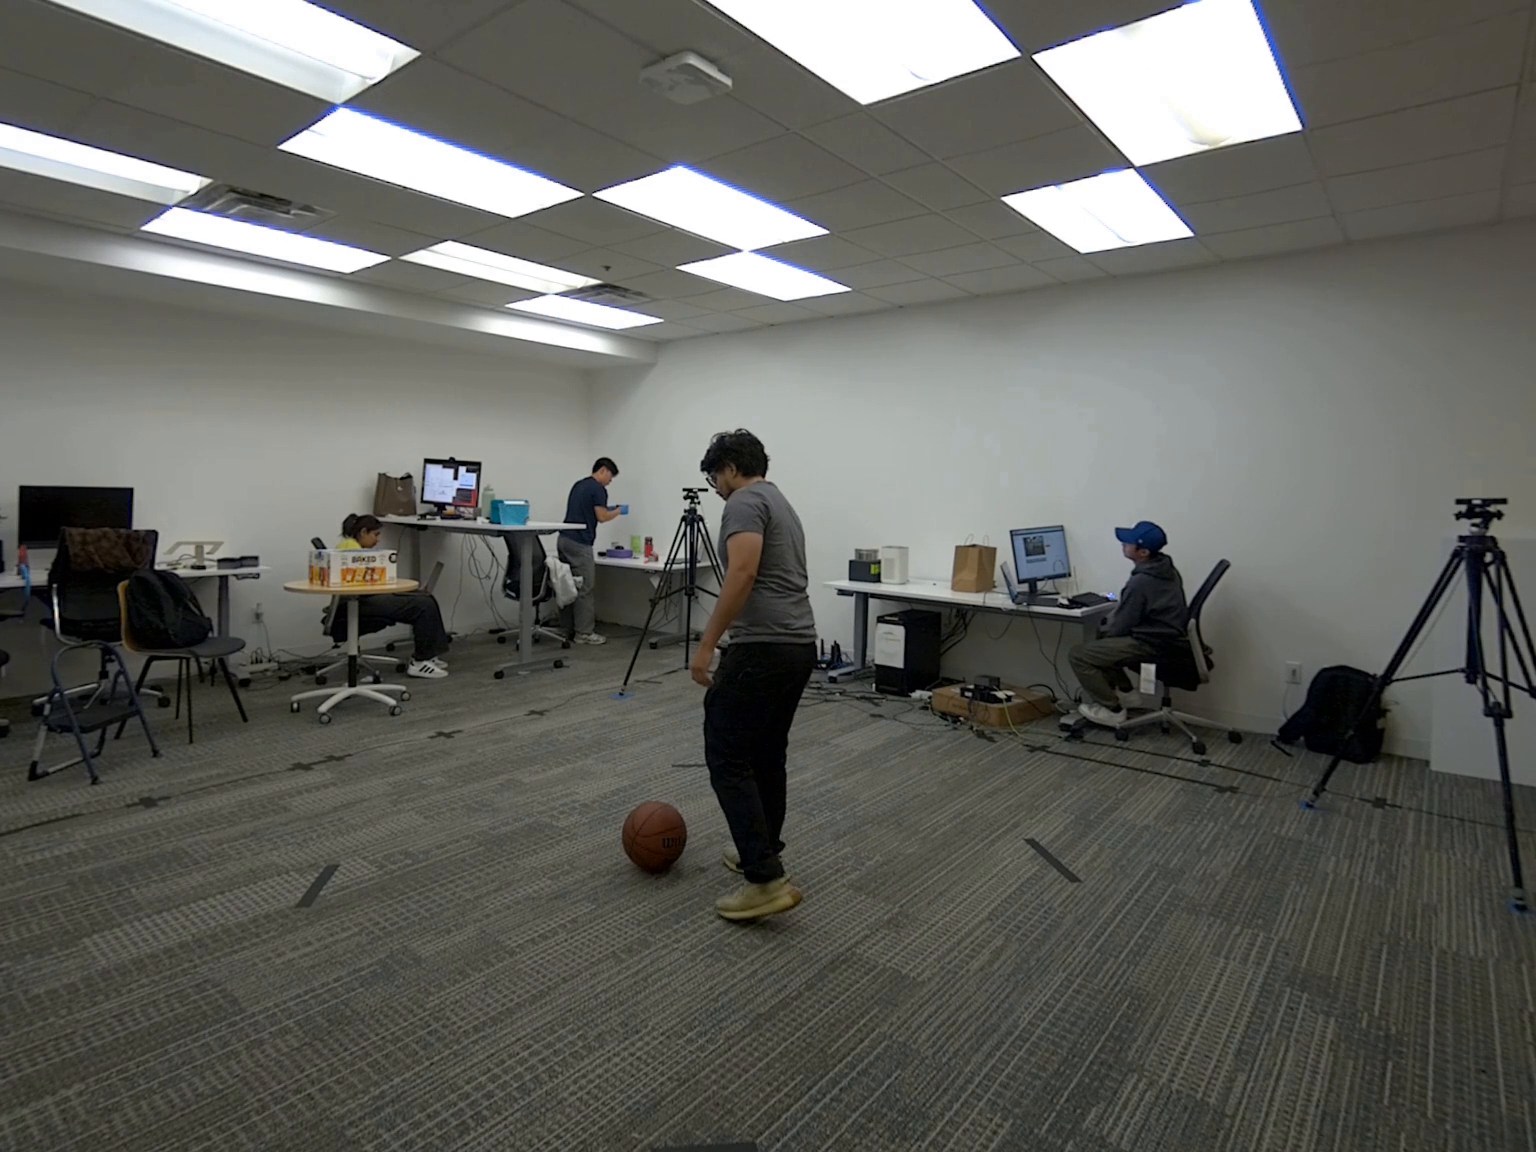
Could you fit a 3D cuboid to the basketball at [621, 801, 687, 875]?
[{"bbox_3d":[-0.425,0.949,3.110,0.235,0.235,0.237,1,4,-2],"label":"basketball"}]
